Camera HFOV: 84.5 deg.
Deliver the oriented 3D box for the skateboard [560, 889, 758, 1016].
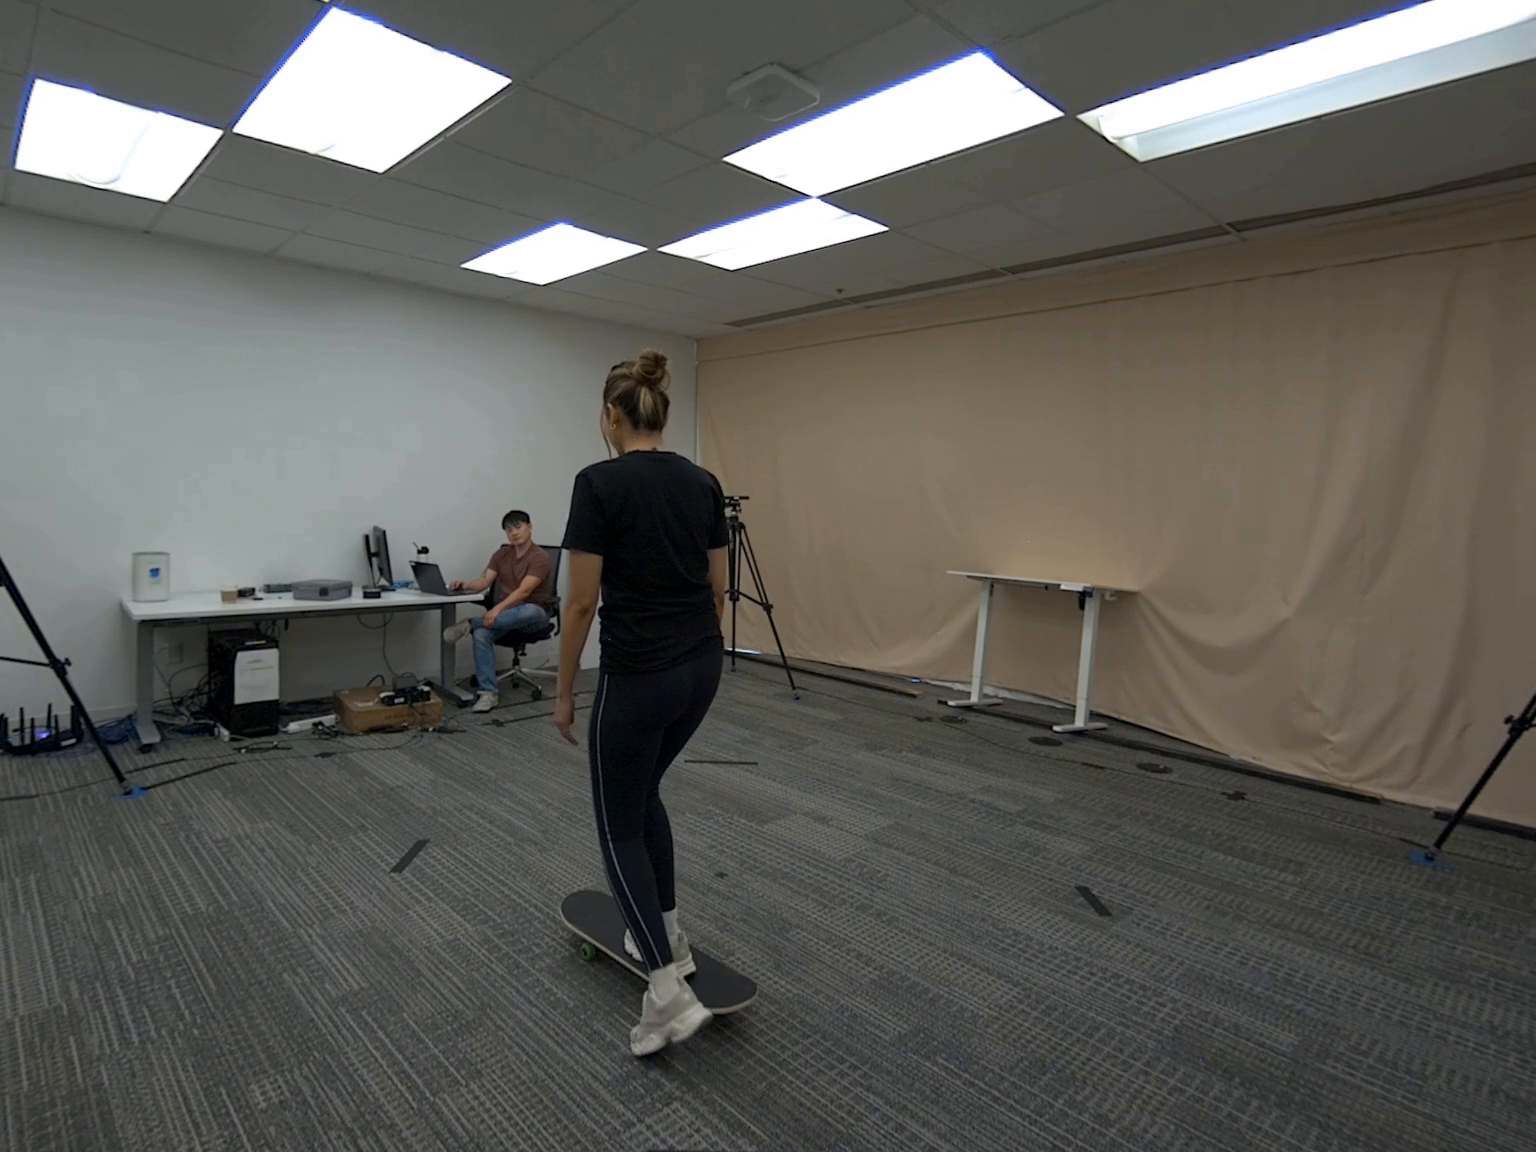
[{"bbox_3d":[-0.344,1.113,2.420,0.806,0.110,0.189,7,8,44],"label":"skateboard"}]
